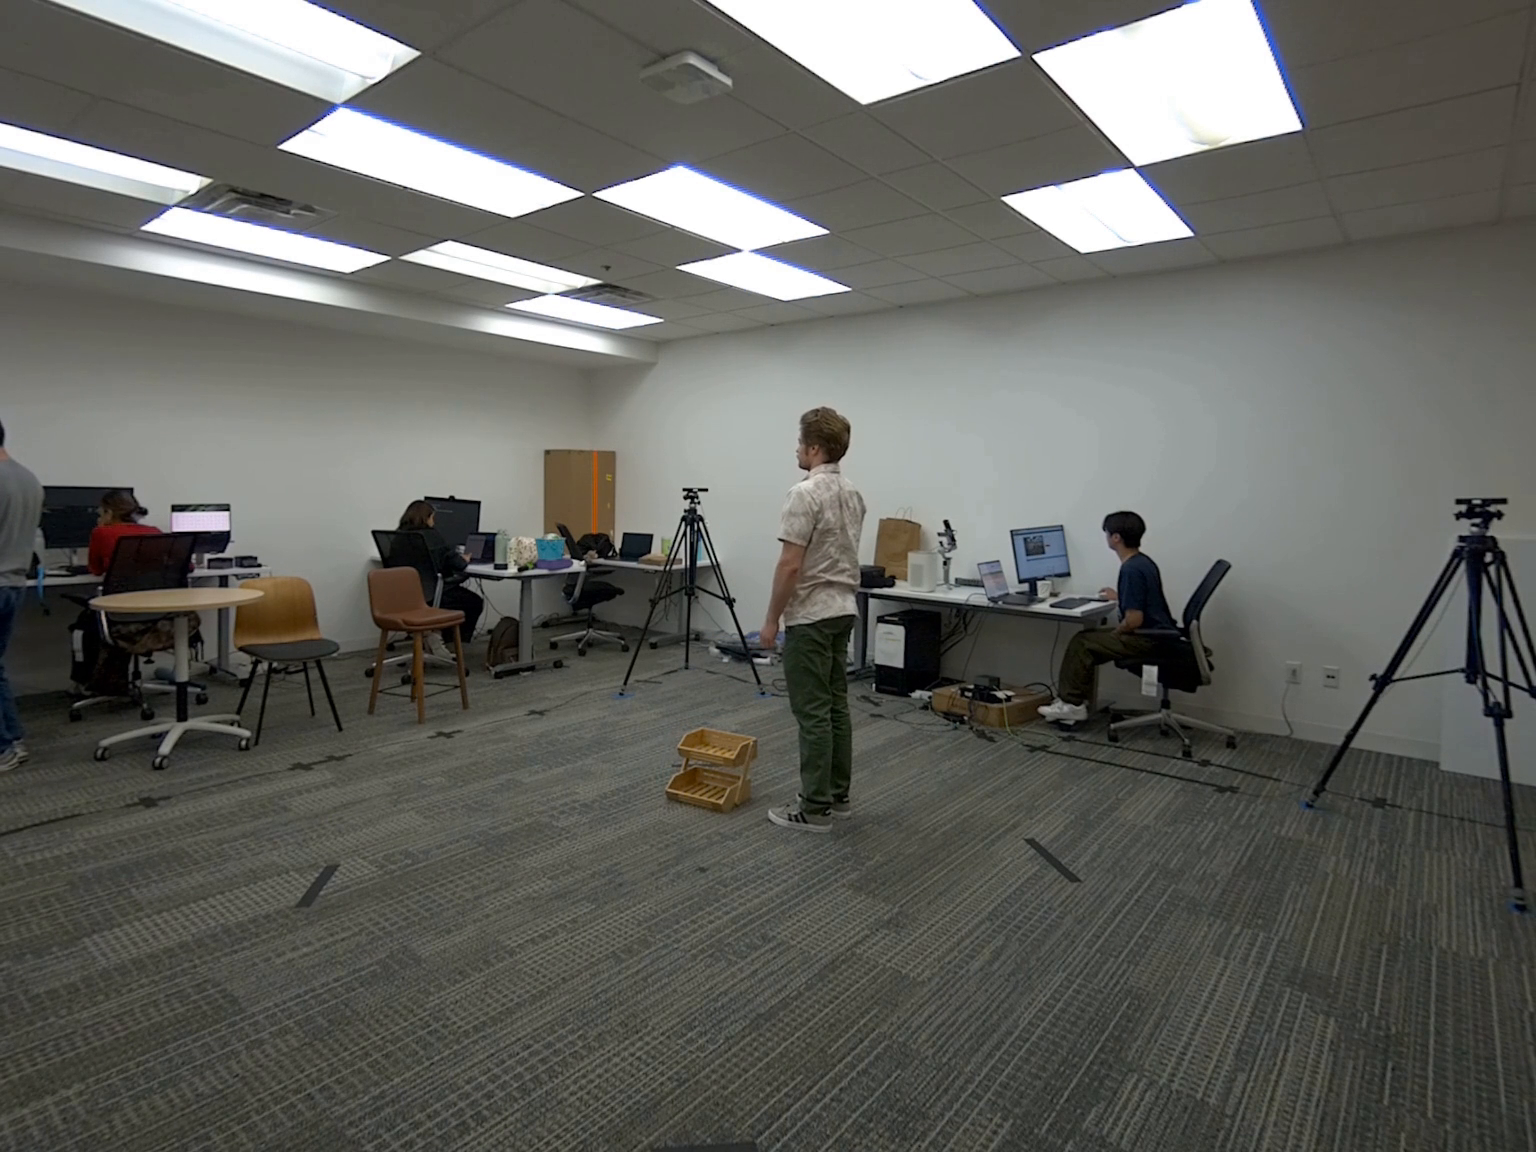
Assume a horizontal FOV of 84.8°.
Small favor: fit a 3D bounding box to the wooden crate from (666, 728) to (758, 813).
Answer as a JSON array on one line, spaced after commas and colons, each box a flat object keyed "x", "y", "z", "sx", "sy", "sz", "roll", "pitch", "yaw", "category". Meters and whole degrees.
[{"x": -0.267, "y": 0.863, "z": 3.844, "sx": 0.334, "sy": 0.273, "sz": 0.294, "roll": 3, "pitch": 4, "yaw": 30, "category": "wooden crate"}]
